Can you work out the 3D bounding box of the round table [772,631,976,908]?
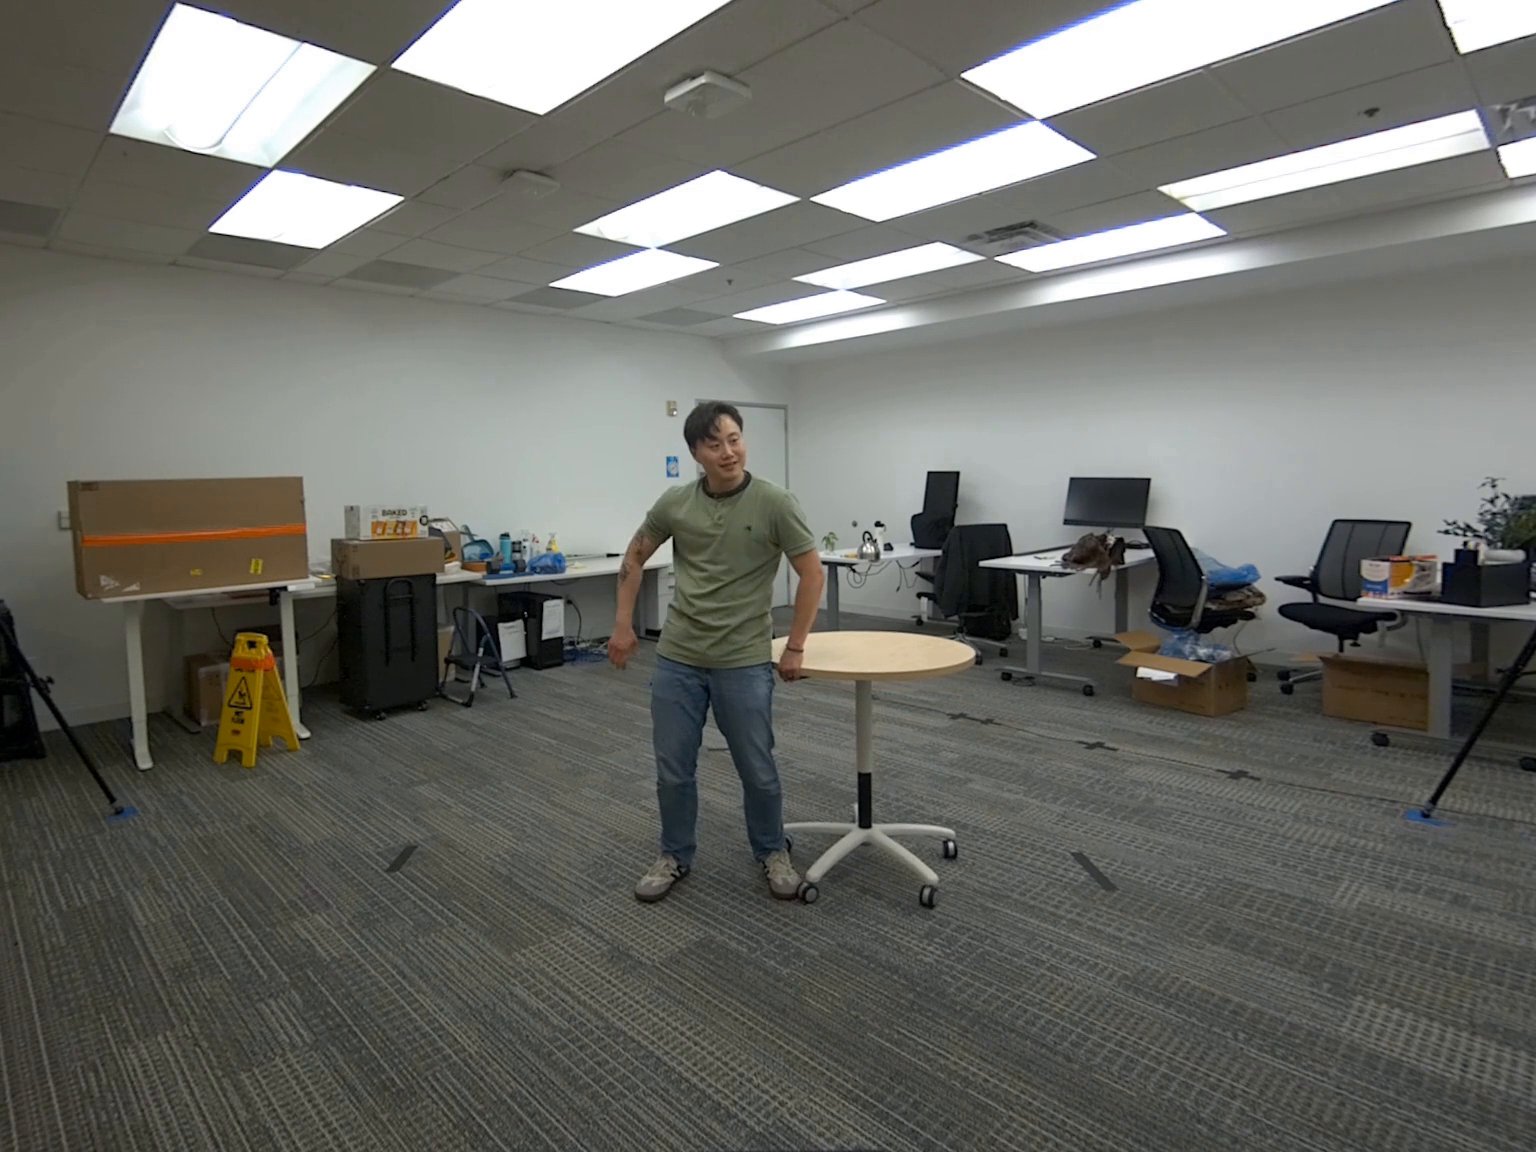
[{"bbox_3d":[0.344,0.653,3.058,0.763,0.791,0.767,-1,4,-2],"label":"round table"}]
